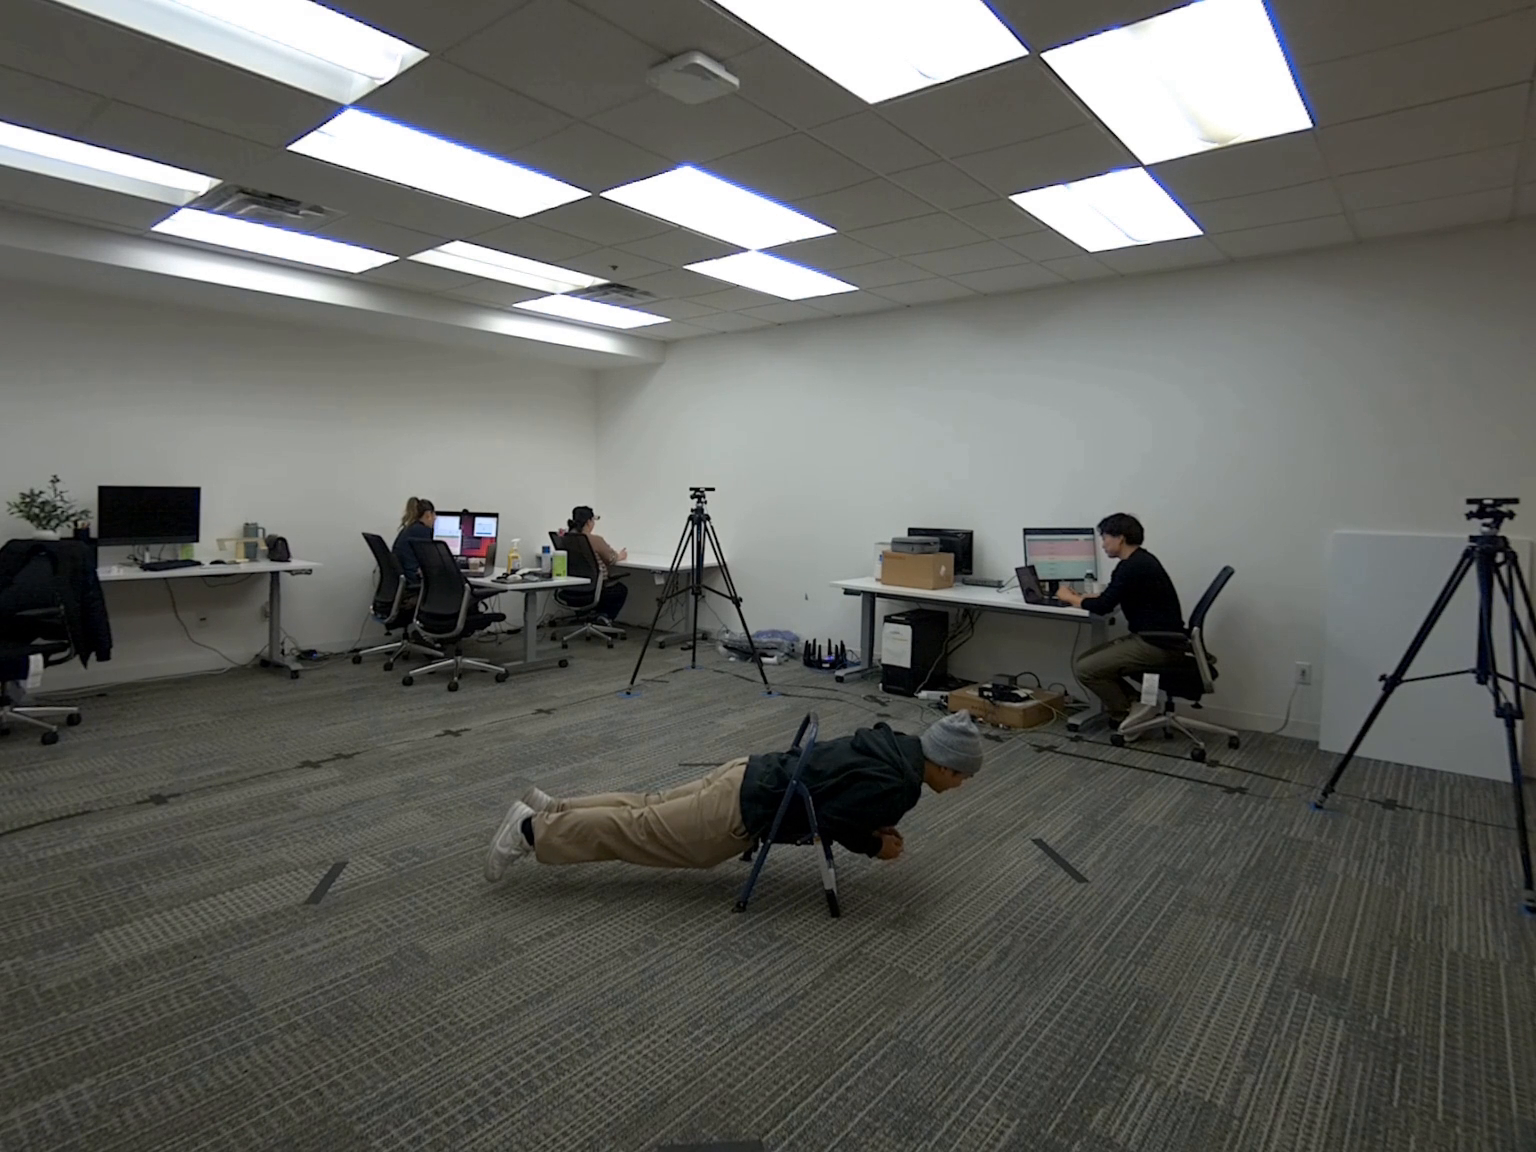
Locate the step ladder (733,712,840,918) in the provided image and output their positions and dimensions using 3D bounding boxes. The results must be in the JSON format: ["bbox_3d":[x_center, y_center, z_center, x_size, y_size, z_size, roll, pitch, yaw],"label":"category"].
[{"bbox_3d":[0.069,0.787,2.970,0.350,0.604,0.431,2,4,1],"label":"step ladder"}]
